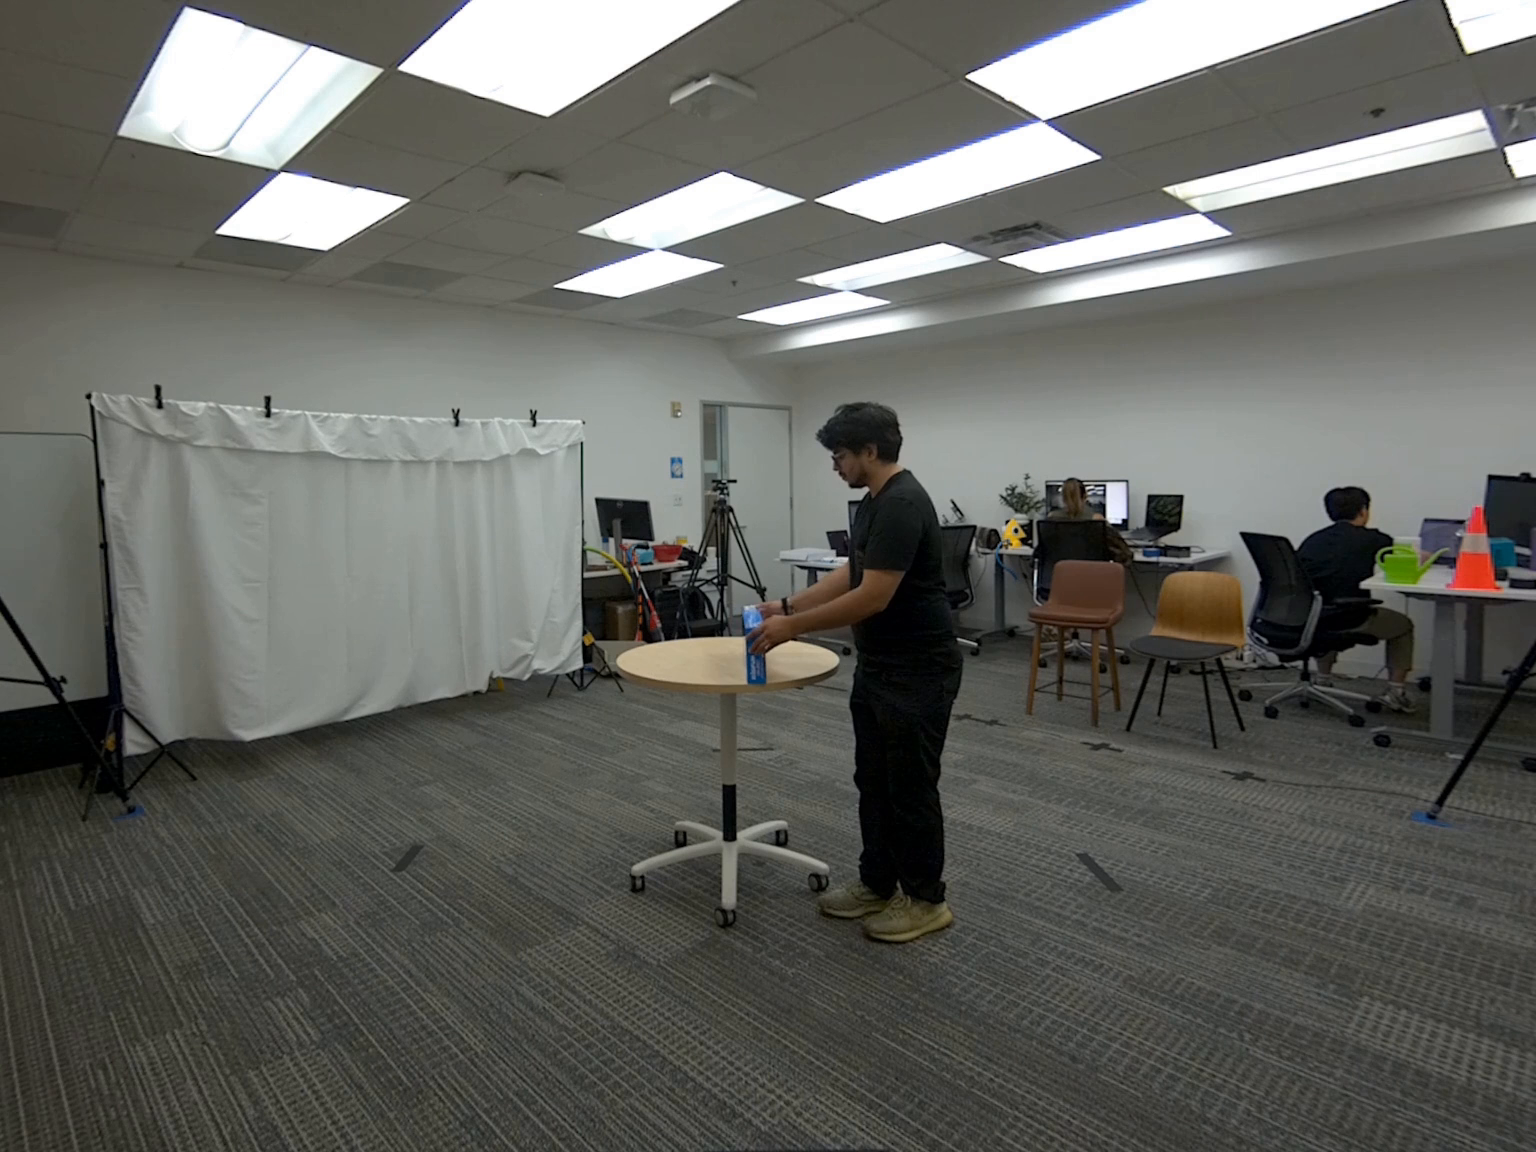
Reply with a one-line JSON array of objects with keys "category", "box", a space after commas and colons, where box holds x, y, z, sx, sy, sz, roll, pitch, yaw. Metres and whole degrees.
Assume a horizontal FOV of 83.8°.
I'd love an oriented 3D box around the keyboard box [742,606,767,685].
[{"category": "keyboard box", "box": [-0.052, 0.212, 2.782, 0.059, 0.175, 0.439, 0, 6, -3]}]
